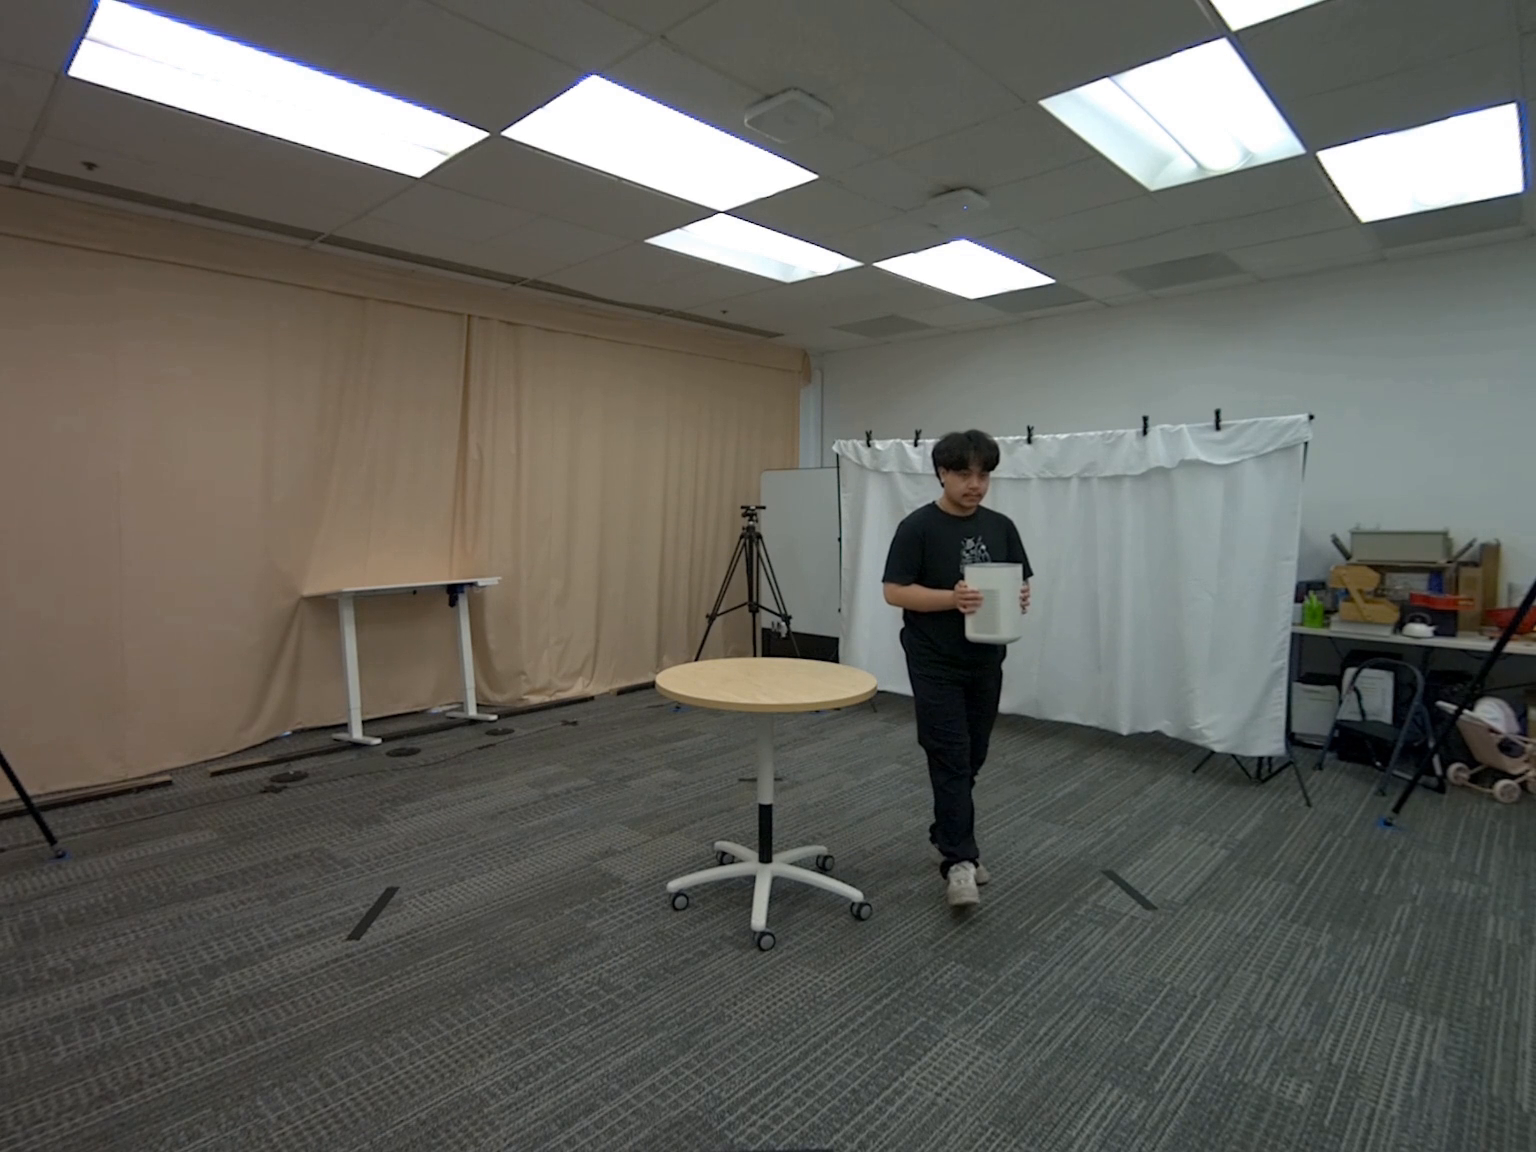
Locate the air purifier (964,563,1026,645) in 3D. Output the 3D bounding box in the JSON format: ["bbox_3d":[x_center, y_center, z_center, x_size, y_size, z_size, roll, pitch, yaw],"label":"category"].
[{"bbox_3d":[0.782,0.094,2.898,0.177,0.265,0.166,0,3,36],"label":"air purifier"}]
